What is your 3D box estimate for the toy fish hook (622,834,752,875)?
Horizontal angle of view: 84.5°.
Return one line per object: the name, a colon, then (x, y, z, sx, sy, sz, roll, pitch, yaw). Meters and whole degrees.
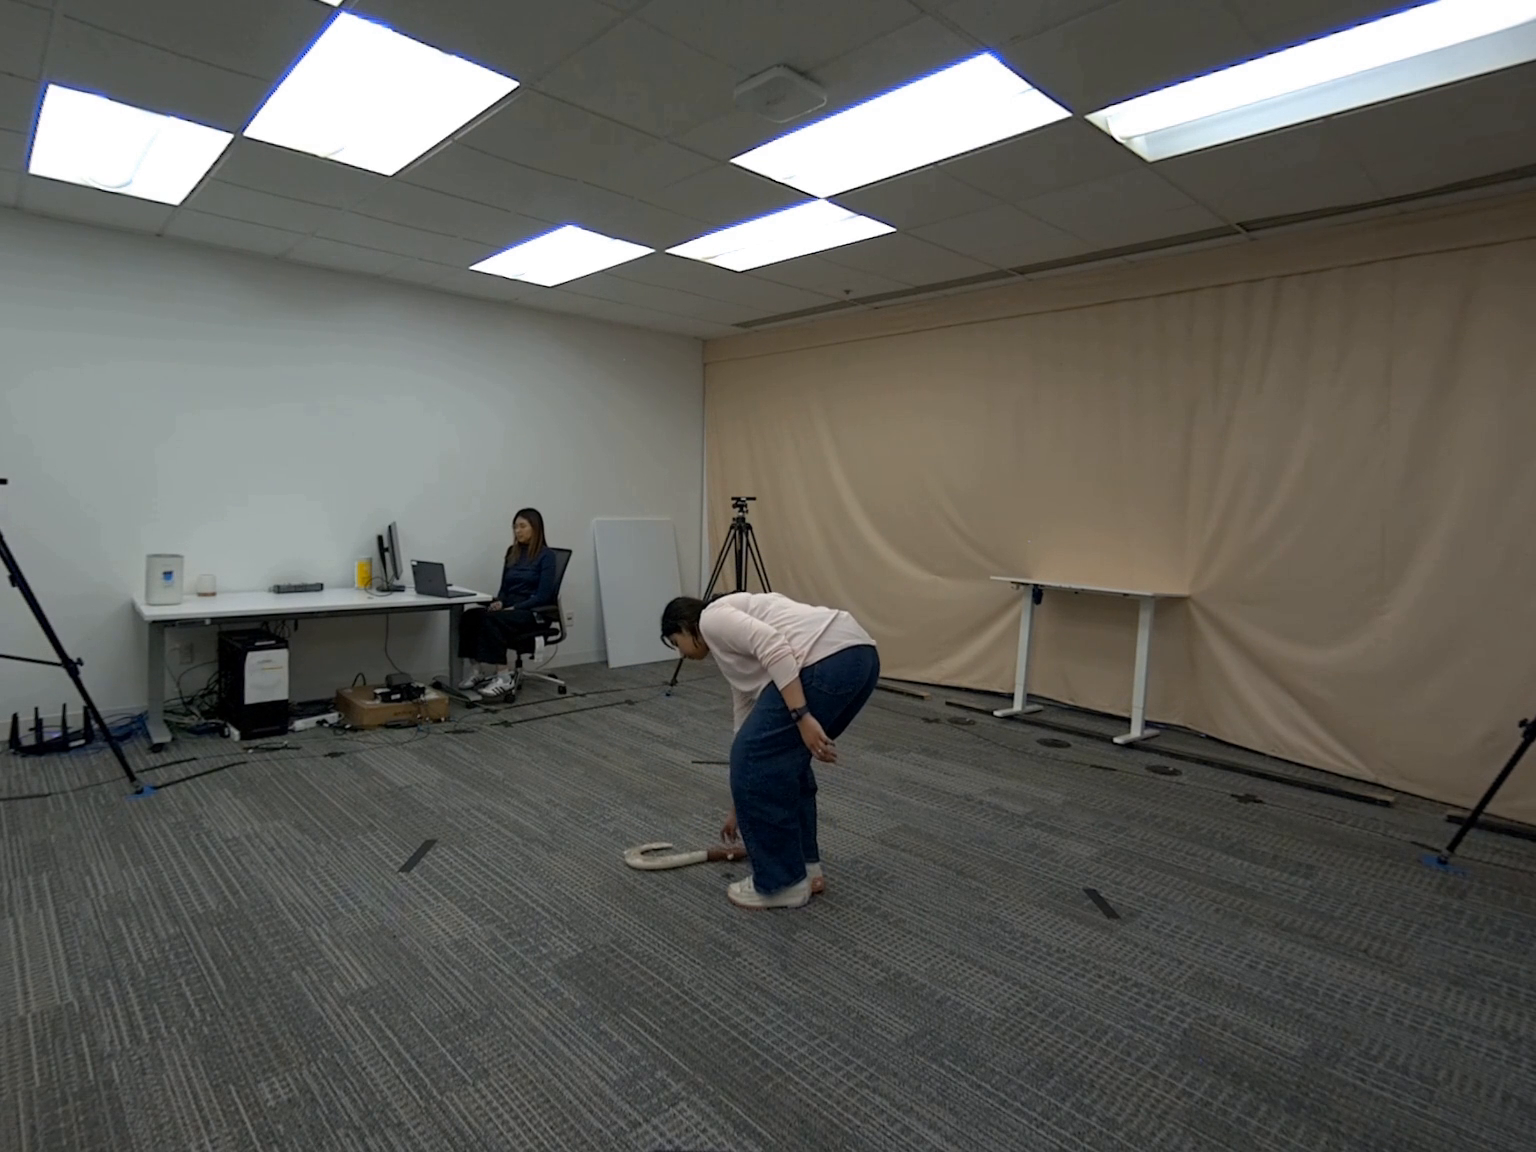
toy fish hook: (-0.300, 1.062, 3.253, 0.502, 0.048, 0.227, 1, 4, -12)
